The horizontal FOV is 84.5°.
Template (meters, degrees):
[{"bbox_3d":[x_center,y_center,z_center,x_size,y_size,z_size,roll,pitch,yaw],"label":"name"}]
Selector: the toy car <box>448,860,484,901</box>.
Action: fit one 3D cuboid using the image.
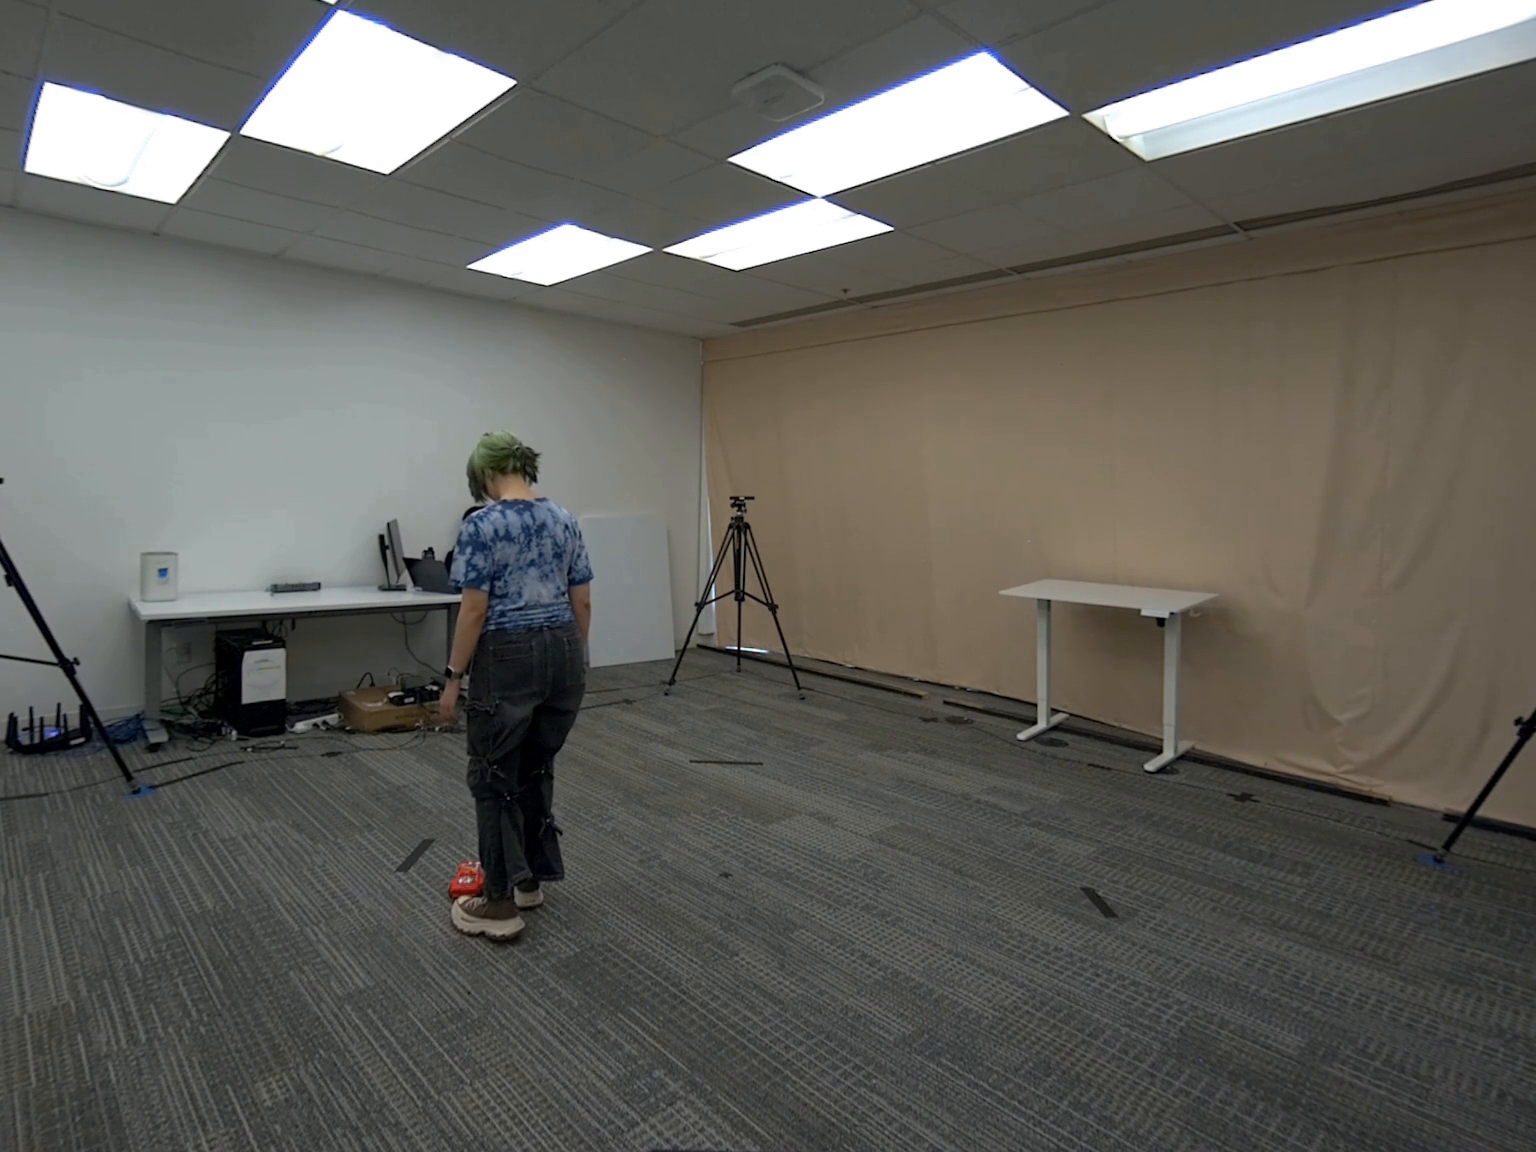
[{"bbox_3d":[-1.041,1.062,2.947,0.129,0.083,0.255,1,-5,-7],"label":"toy car"}]
